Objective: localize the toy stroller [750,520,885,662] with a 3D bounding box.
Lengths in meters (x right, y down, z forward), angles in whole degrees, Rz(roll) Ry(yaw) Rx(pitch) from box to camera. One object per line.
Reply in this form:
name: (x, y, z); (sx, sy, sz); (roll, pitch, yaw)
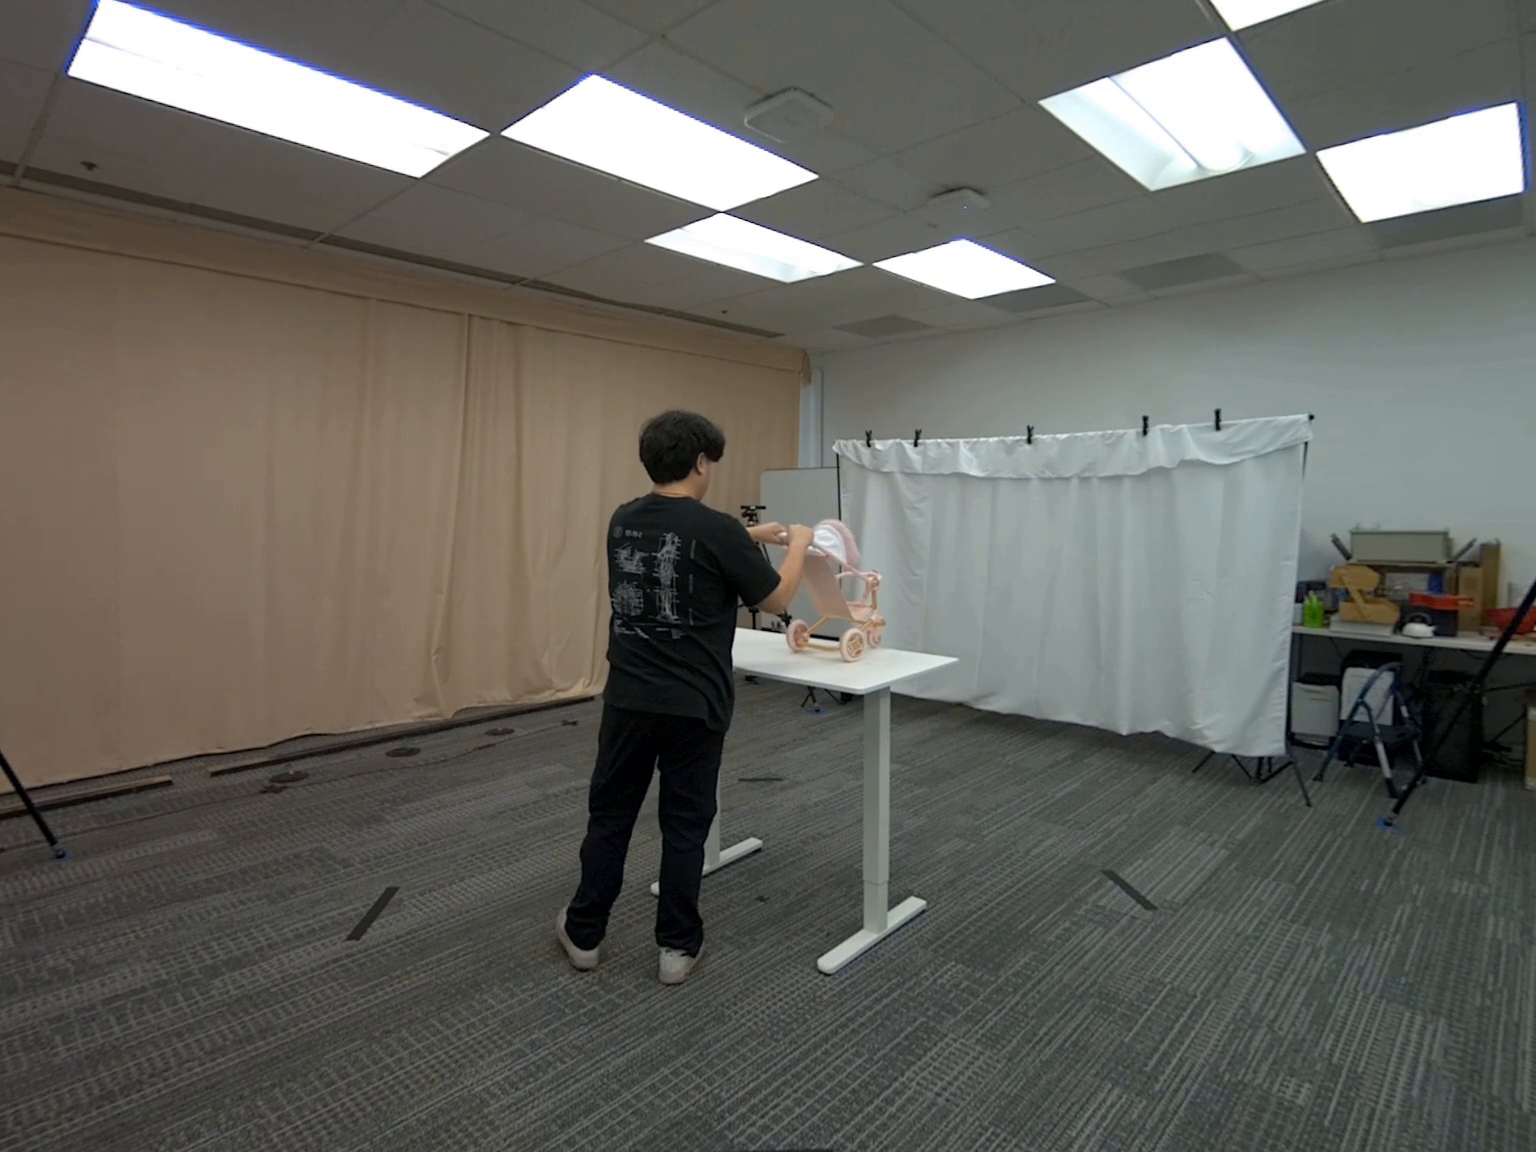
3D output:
toy stroller: (0.236, 0.046, 2.864); (0.334, 0.529, 0.290); (-22, 16, -34)
